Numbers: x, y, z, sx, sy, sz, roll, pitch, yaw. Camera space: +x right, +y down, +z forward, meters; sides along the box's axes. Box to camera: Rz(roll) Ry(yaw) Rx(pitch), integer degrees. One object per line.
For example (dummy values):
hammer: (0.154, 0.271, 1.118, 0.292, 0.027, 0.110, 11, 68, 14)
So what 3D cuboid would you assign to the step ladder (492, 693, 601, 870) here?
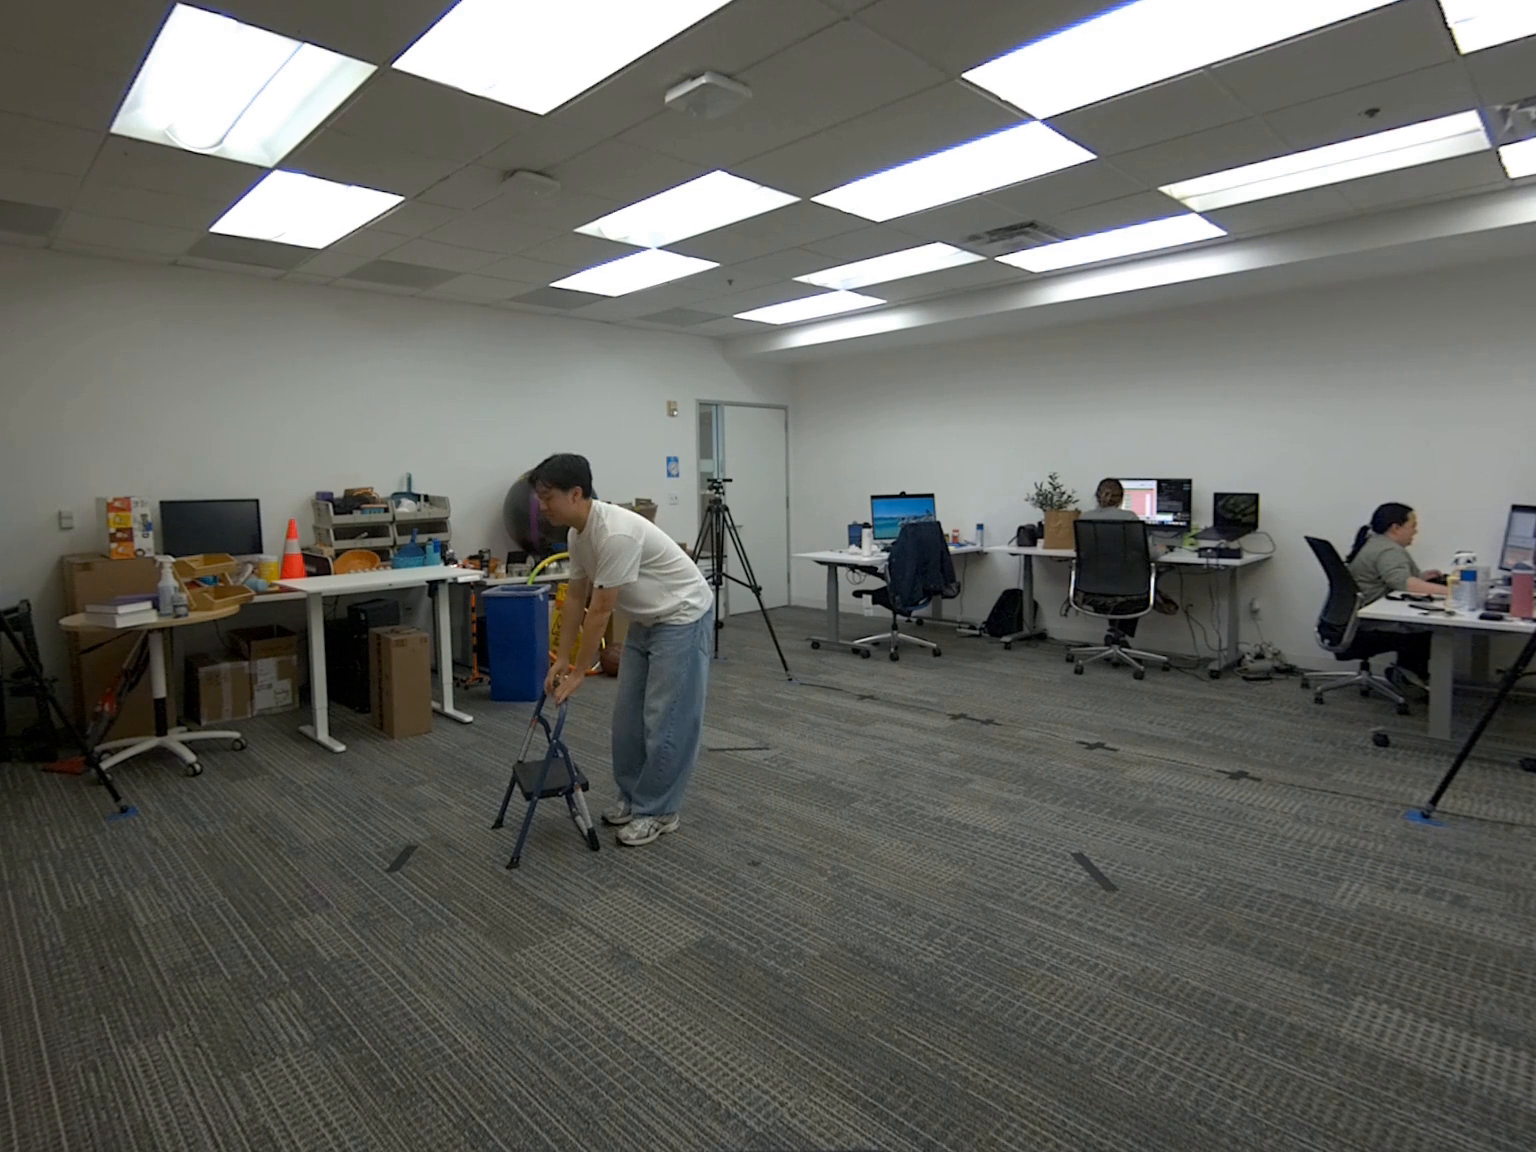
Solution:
step ladder: (-0.885, 0.732, 3.334, 0.342, 0.604, 0.441, -2, 5, -25)
